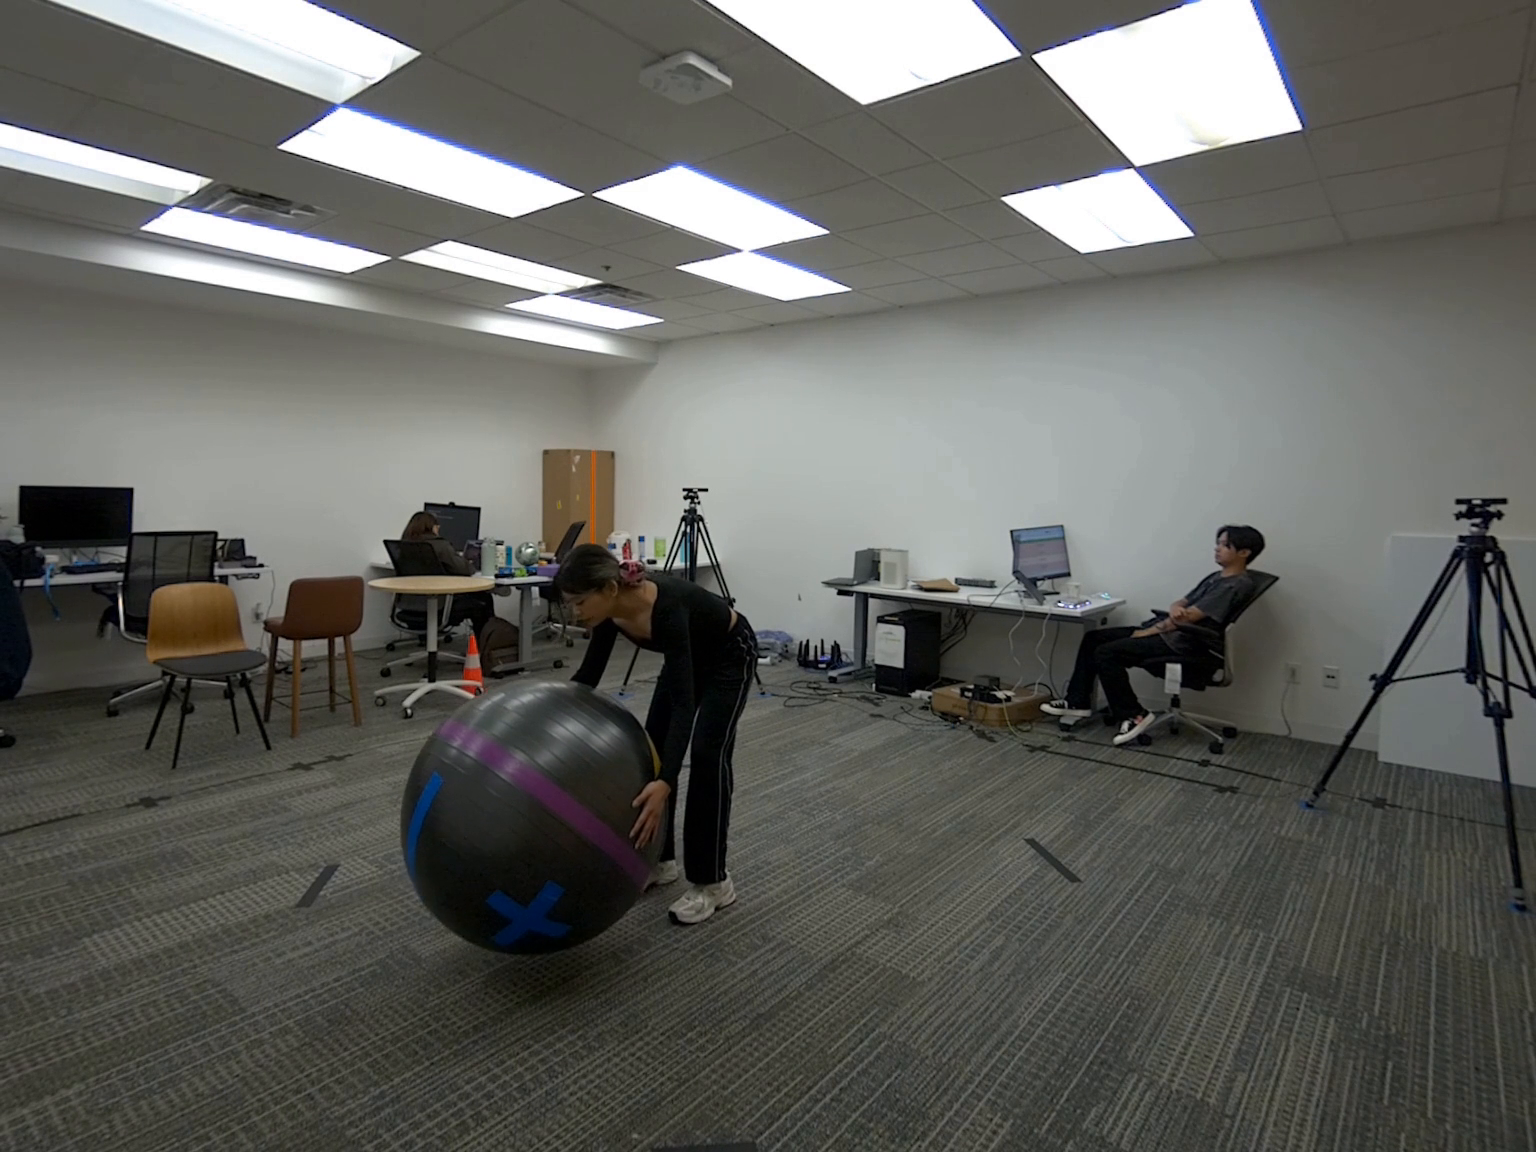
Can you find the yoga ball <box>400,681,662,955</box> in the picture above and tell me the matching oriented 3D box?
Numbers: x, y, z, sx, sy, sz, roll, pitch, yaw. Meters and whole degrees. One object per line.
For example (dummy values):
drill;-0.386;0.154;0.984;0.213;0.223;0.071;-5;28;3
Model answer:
yoga ball;-0.688;0.680;2.456;0.757;0.755;0.762;1;4;-2
